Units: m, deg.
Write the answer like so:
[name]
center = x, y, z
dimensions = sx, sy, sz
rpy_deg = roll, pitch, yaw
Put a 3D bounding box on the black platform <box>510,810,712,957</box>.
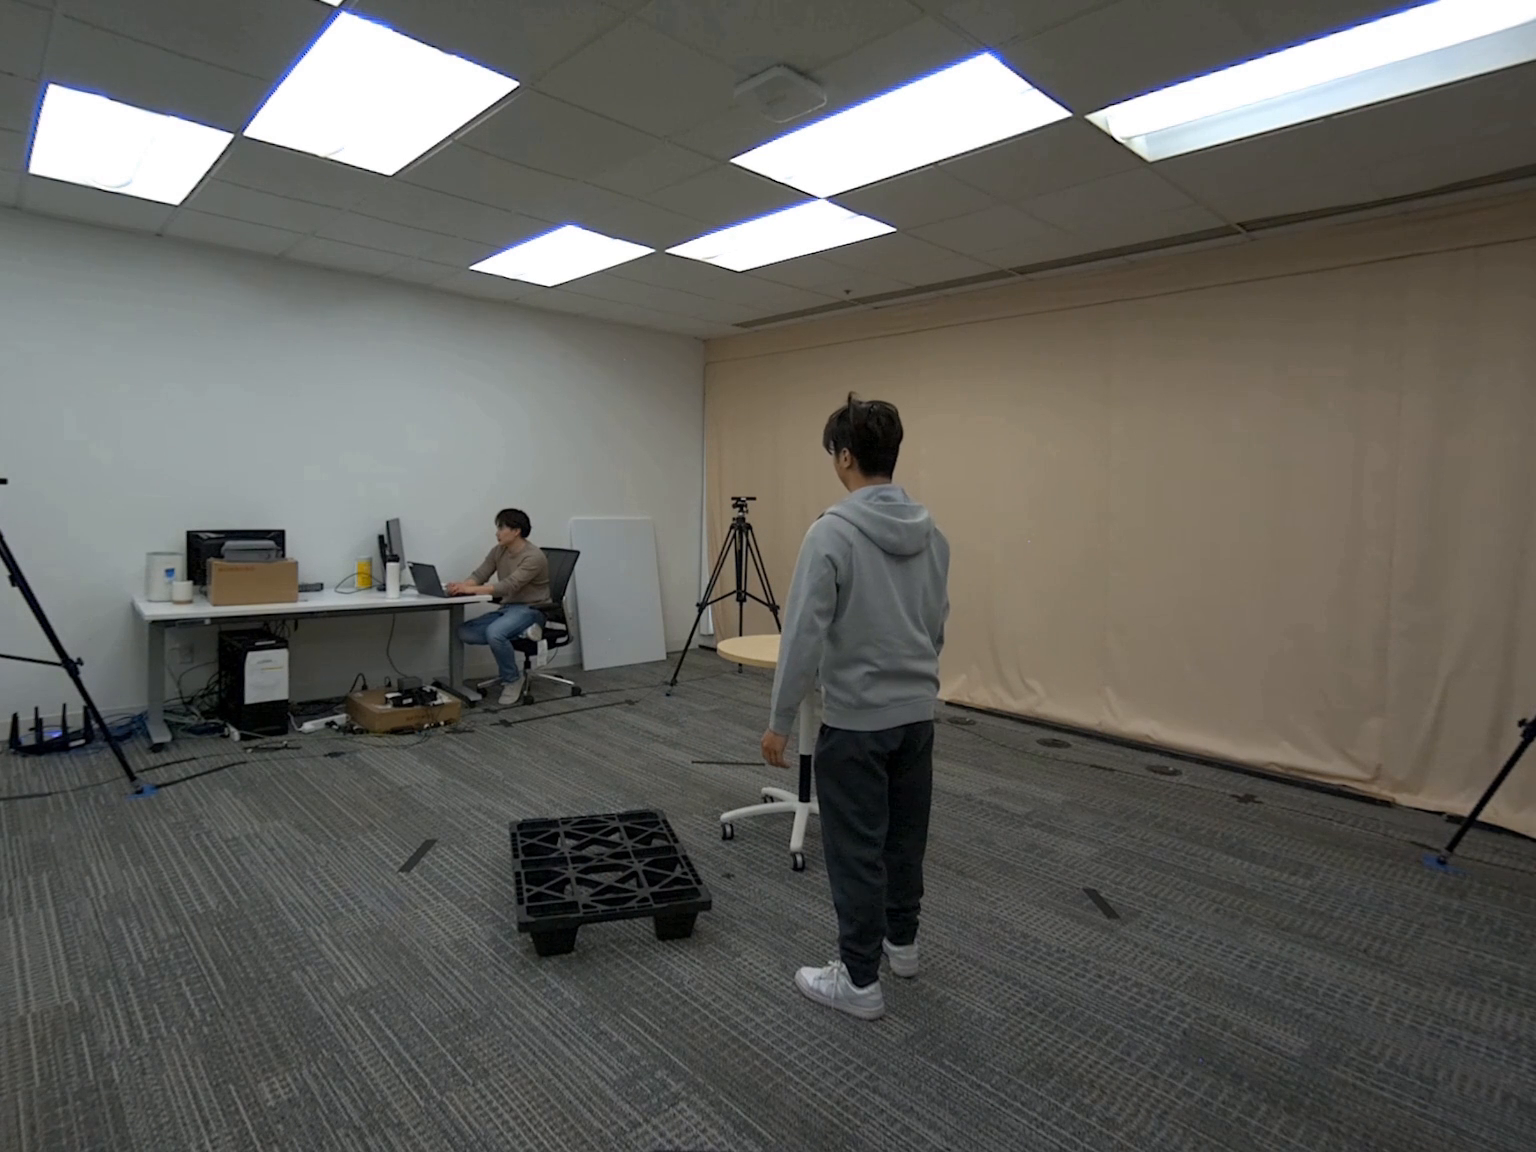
[black platform]
center = -0.589, 1.044, 2.946
dimensions = 0.597, 0.143, 0.819
rpy_deg = 0, 6, -18
